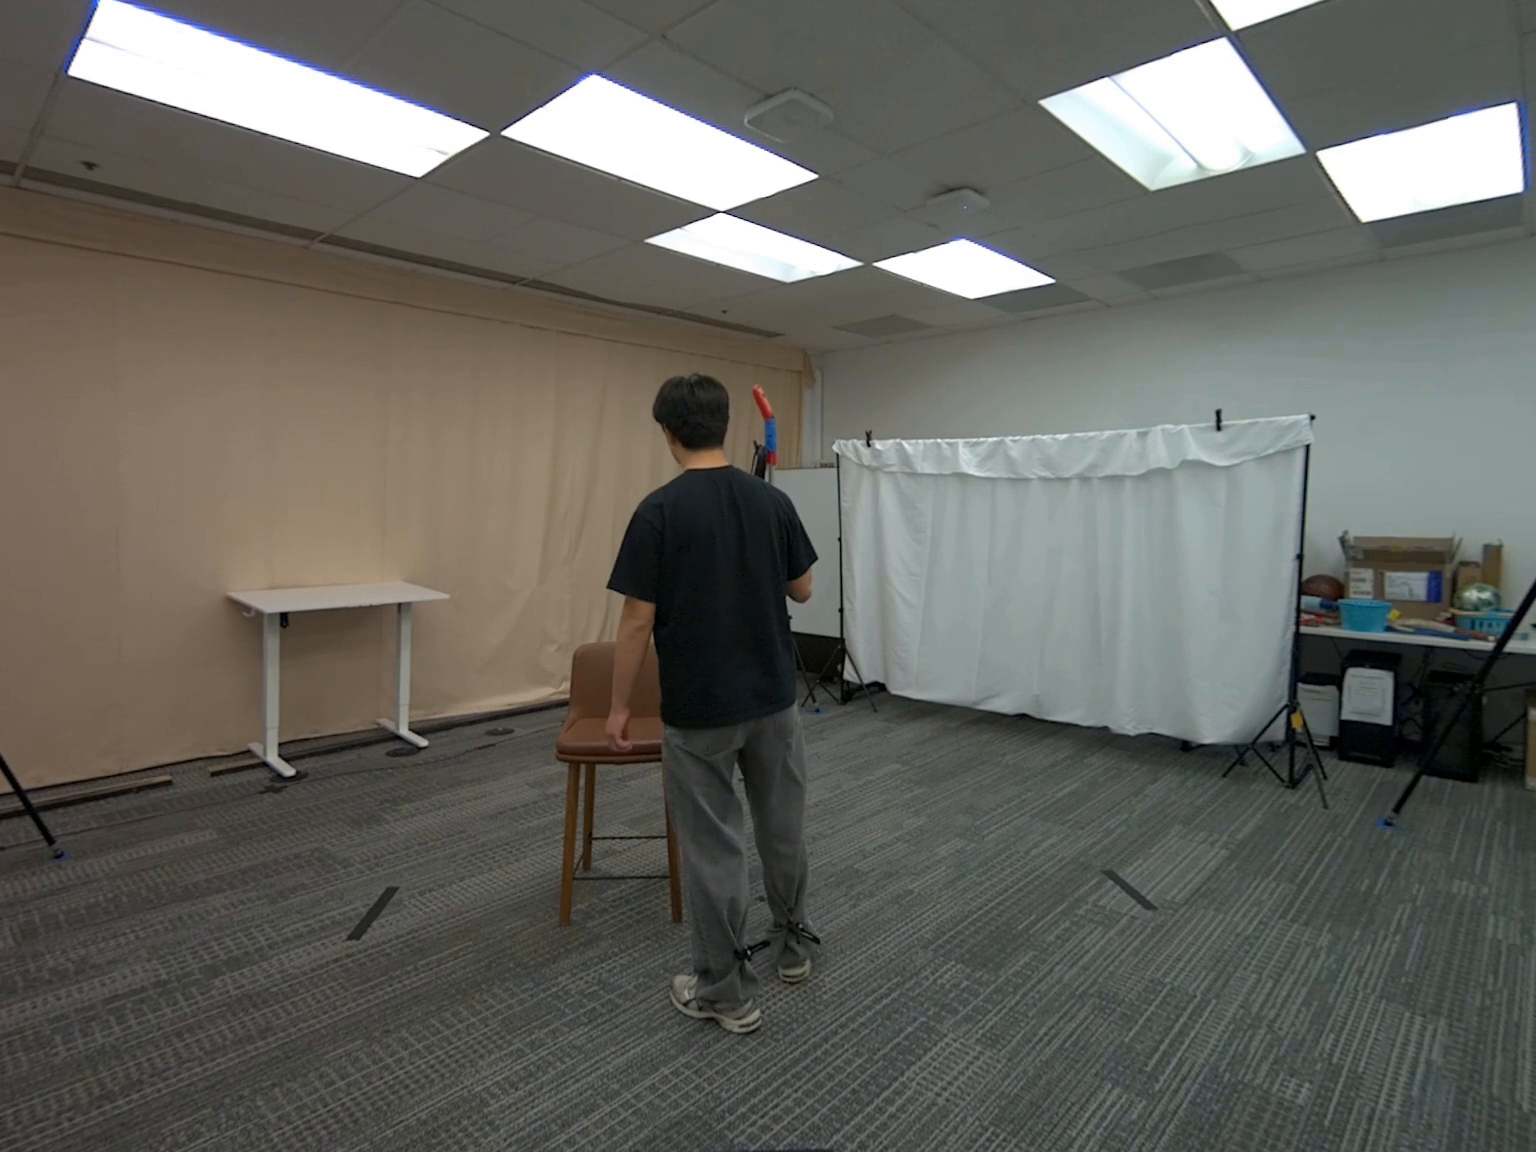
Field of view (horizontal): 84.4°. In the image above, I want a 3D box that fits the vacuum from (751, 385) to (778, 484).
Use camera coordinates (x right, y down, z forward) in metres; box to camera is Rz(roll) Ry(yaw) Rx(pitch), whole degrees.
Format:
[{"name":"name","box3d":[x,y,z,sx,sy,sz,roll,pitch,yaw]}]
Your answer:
[{"name":"vacuum","box3d":[-0.033,-0.061,2.667,0.147,1.042,0.249,3,11,17]}]
